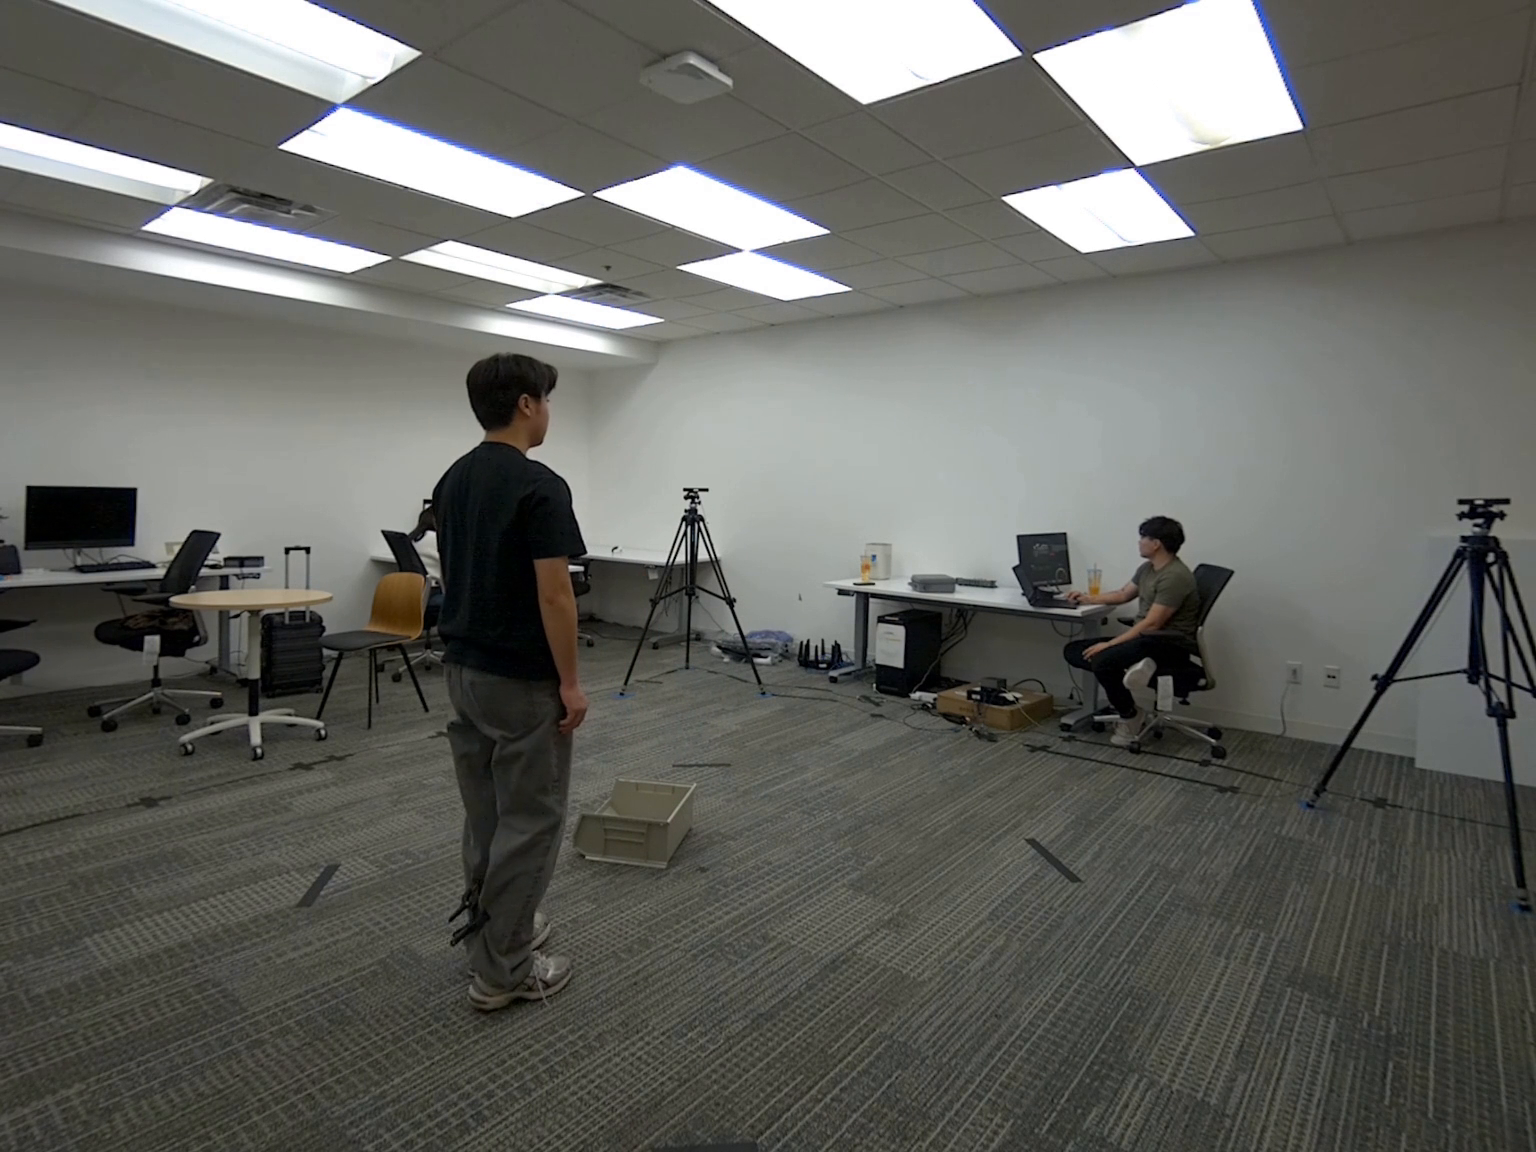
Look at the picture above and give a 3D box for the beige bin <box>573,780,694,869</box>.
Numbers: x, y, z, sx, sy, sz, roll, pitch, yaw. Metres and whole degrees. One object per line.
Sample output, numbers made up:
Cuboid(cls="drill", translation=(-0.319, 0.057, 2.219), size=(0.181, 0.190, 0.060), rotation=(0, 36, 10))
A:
Cuboid(cls="beige bin", translation=(-0.526, 0.953, 3.334), size=(0.382, 0.188, 0.418), rotation=(3, 5, 10))
